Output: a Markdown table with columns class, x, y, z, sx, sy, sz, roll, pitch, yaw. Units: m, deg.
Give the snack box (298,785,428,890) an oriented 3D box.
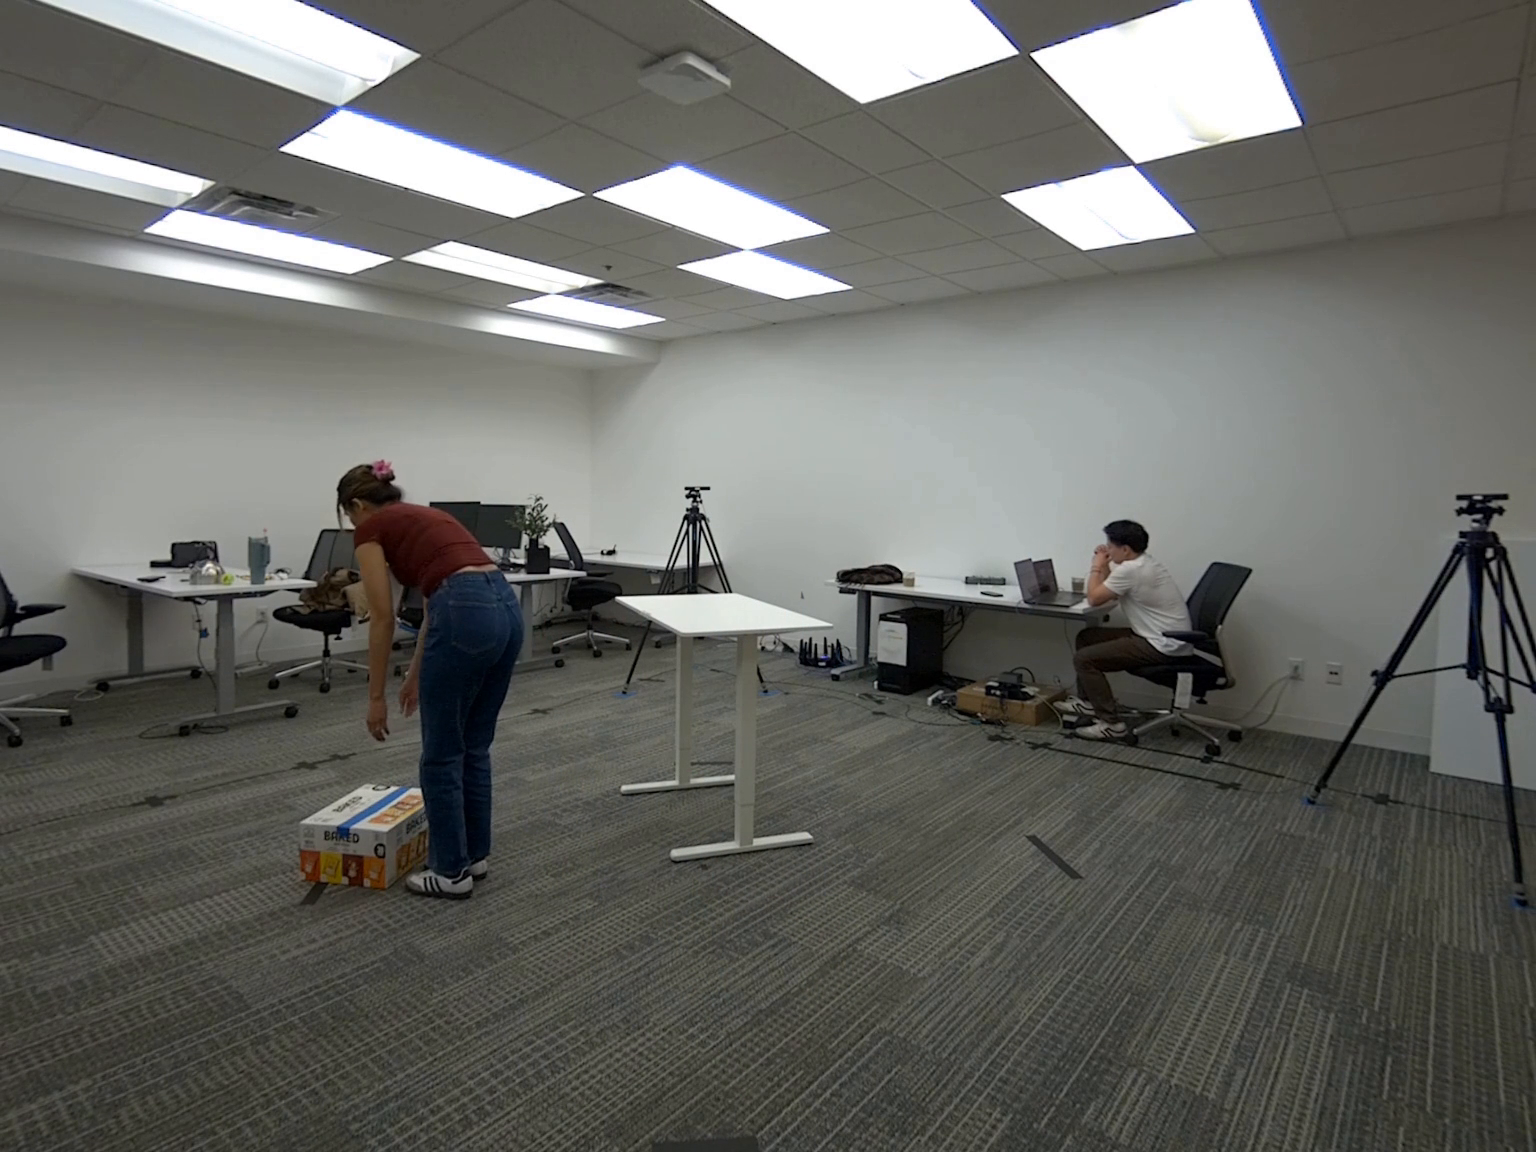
| class | x | y | z | sx | sy | sz | roll | pitch | yaw |
| --- | --- | --- | --- | --- | --- | --- | --- | --- | --- |
| snack box | -1.470 | 0.952 | 3.136 | 0.344 | 0.205 | 0.403 | 2 | 6 | 9 |
